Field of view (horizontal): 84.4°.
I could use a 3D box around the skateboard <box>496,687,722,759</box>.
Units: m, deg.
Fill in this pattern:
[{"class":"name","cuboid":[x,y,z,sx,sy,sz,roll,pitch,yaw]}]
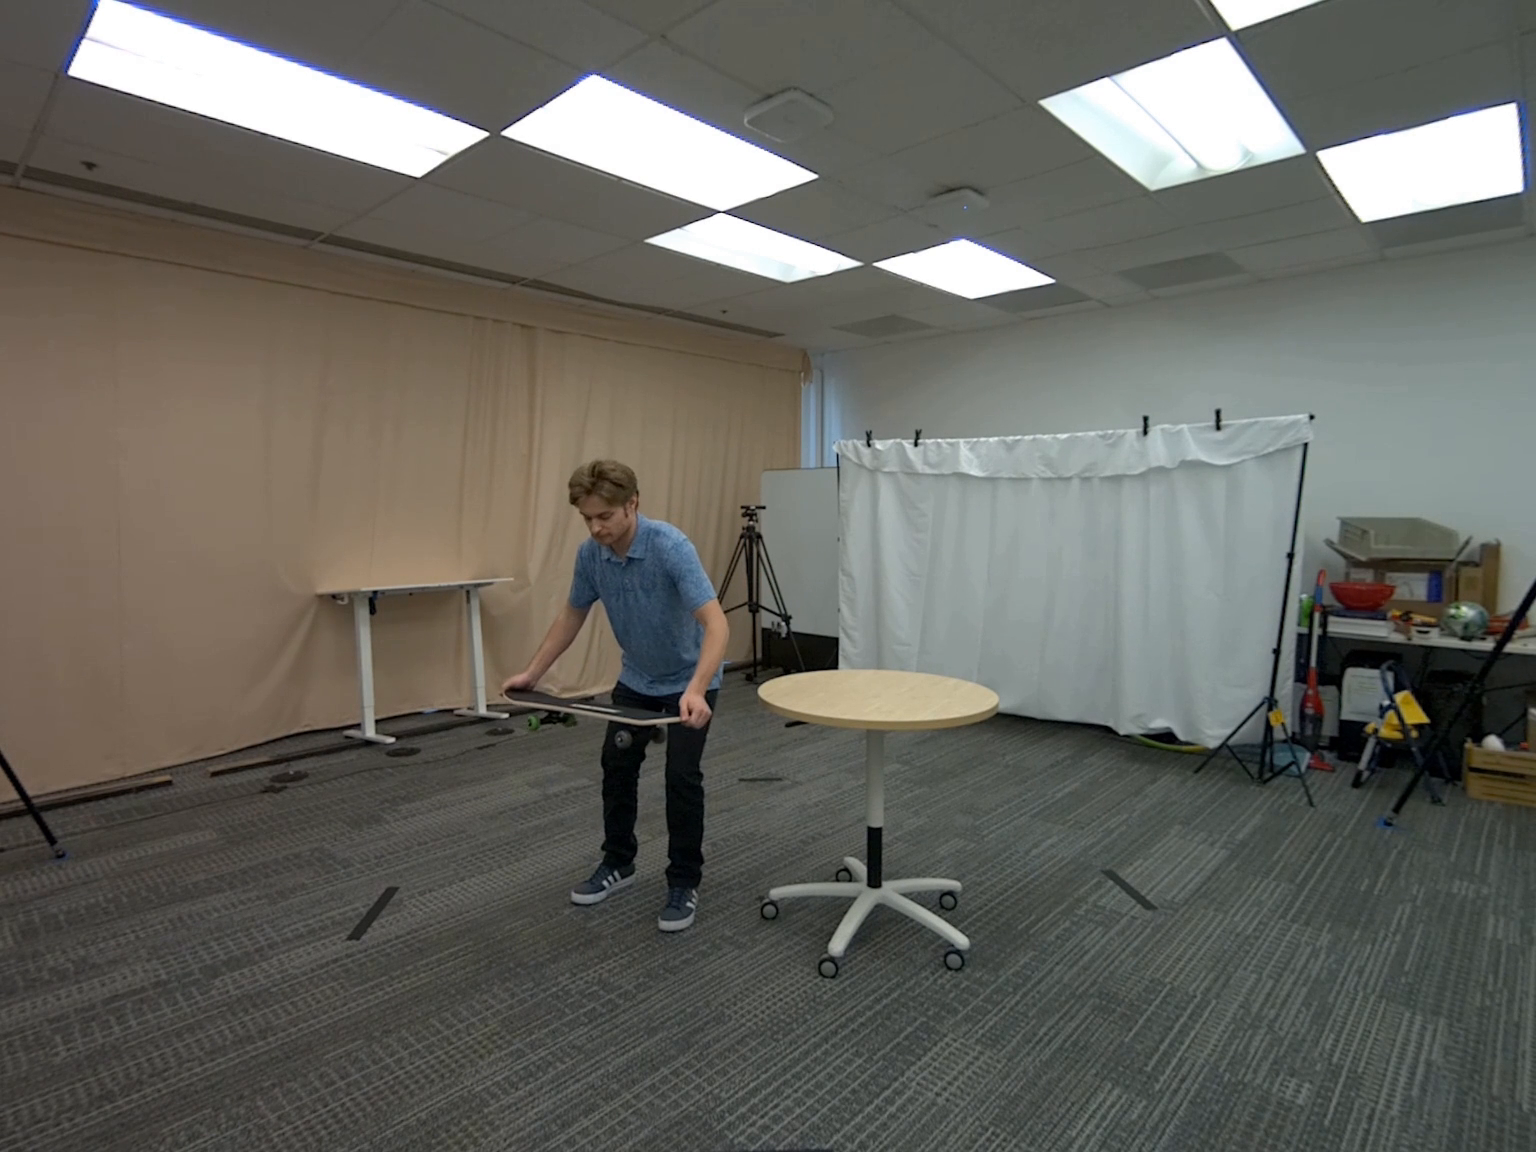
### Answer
[{"class":"skateboard","cuboid":[-0.516,0.442,2.621,0.810,0.110,0.187,1,-3,37]}]
